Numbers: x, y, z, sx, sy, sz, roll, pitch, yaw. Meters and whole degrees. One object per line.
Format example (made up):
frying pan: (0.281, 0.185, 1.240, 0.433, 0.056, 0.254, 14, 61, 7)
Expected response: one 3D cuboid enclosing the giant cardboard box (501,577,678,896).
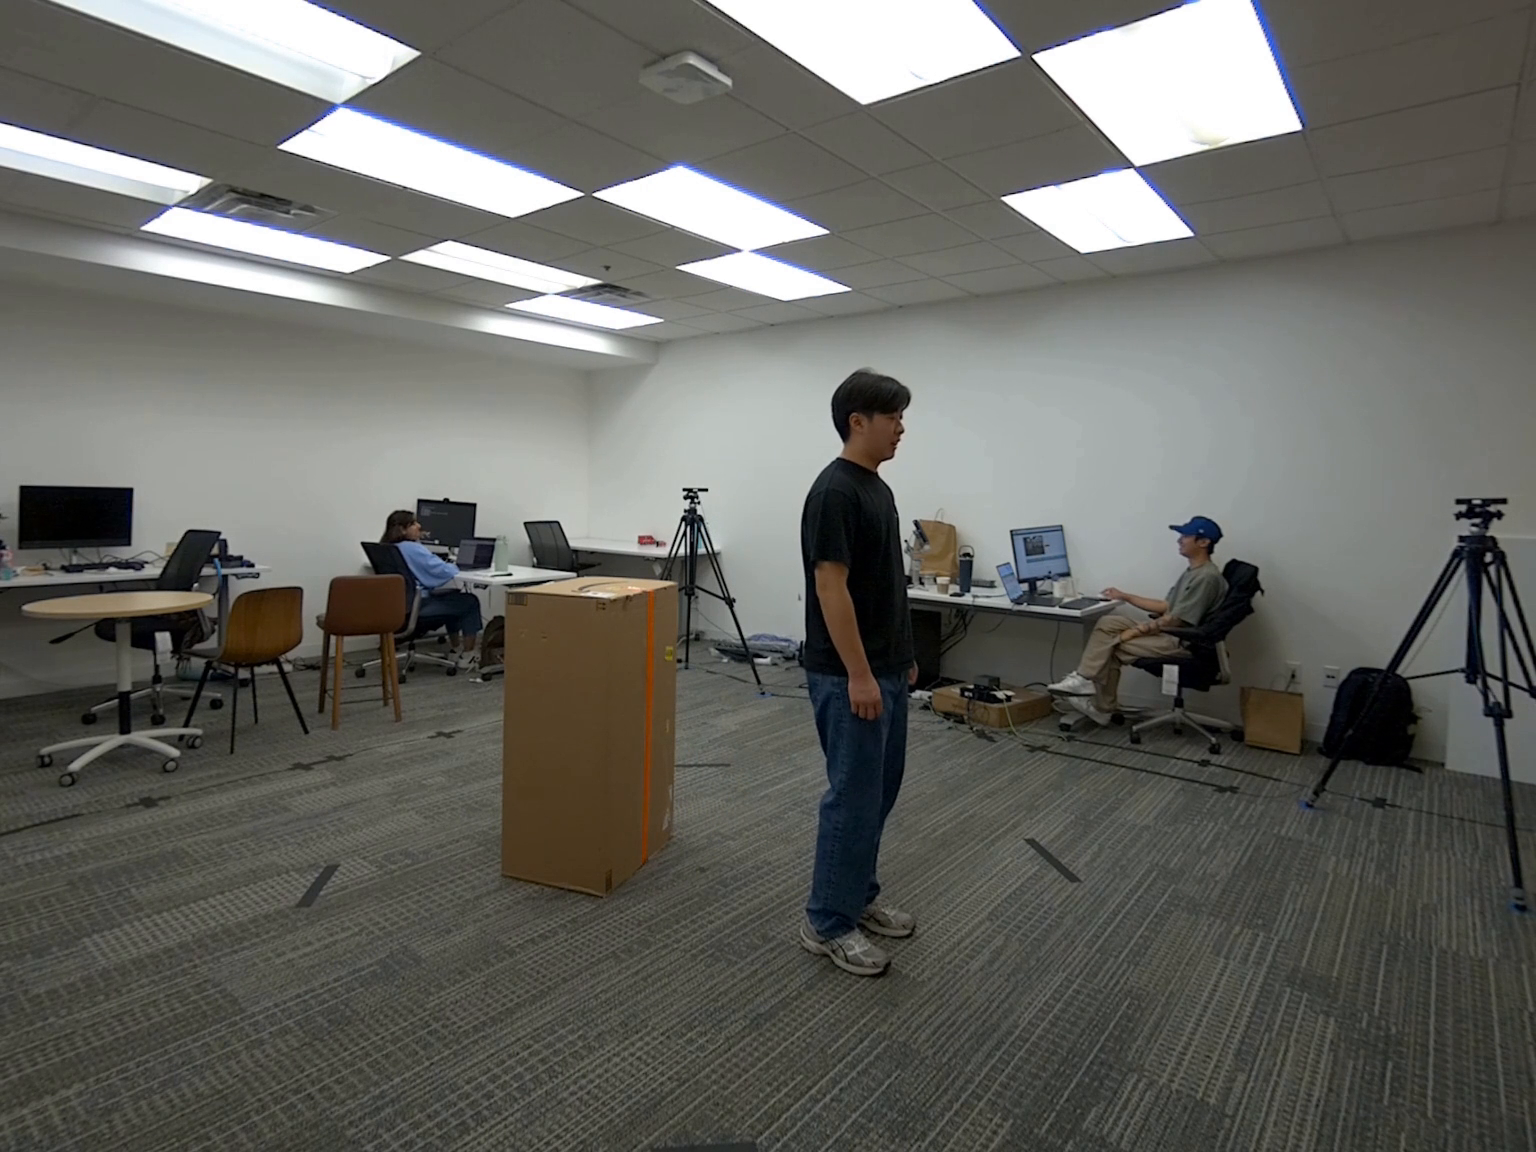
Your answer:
giant cardboard box: (-0.661, 0.542, 3.192, 0.457, 1.024, 0.572, 3, 3, 20)
